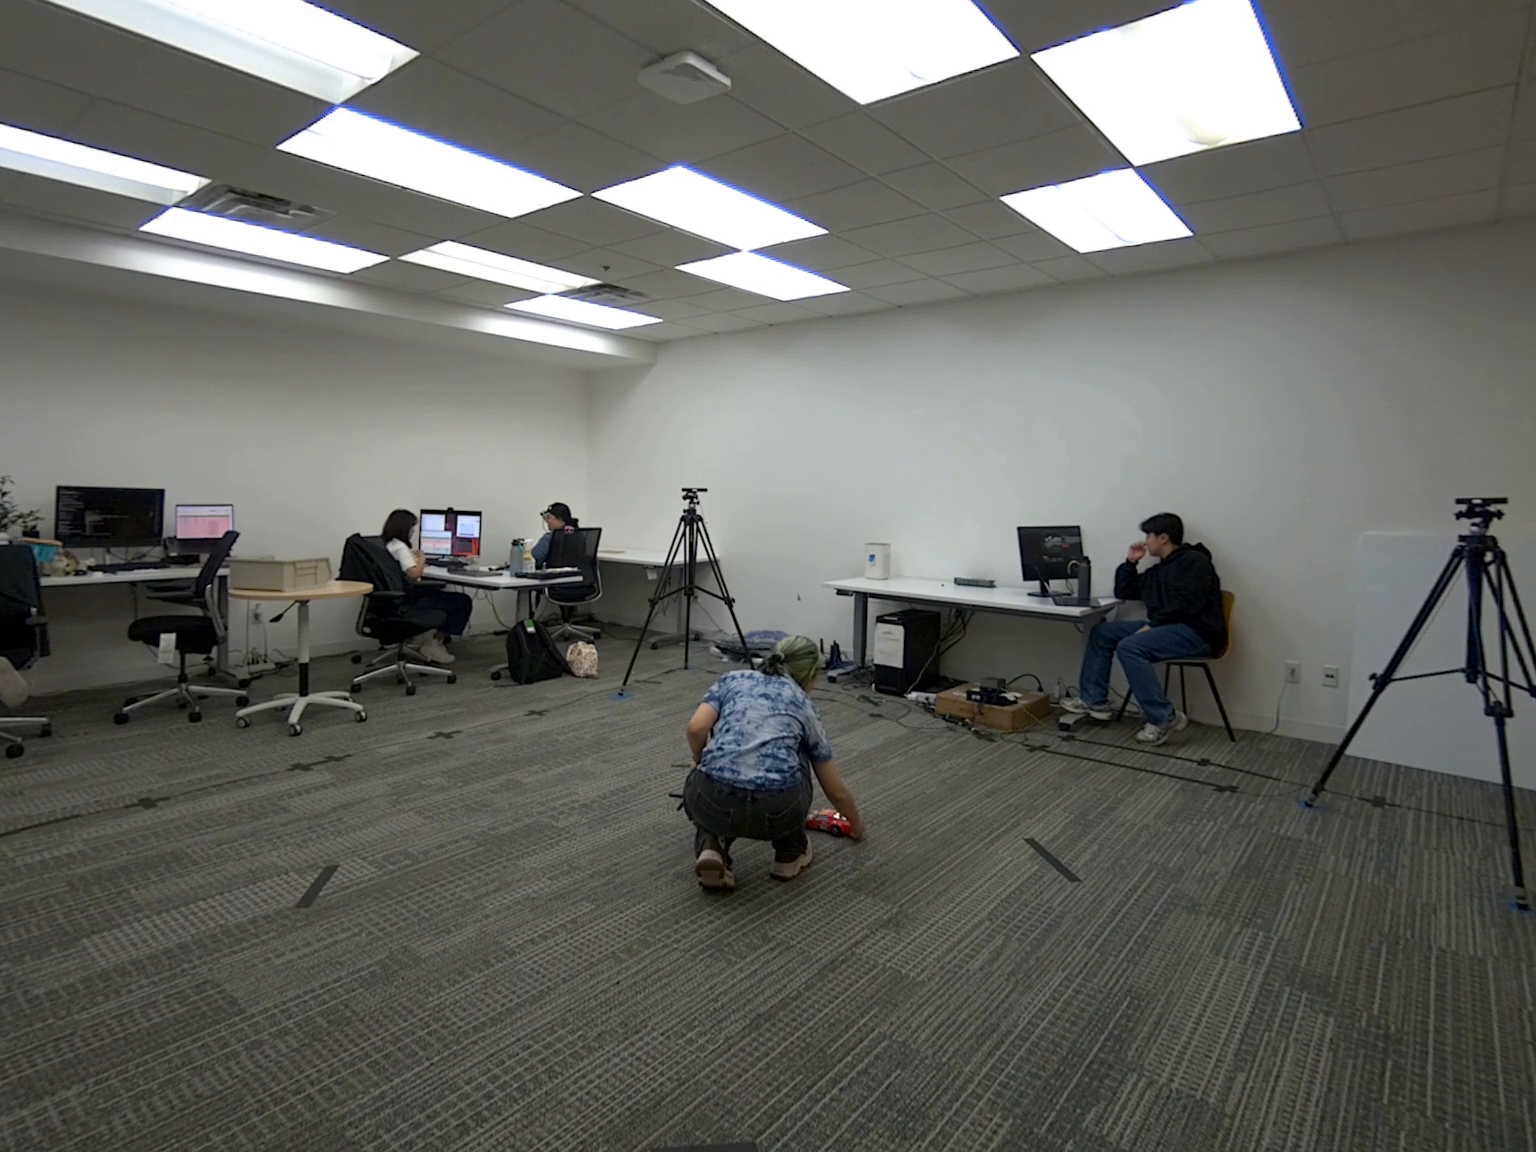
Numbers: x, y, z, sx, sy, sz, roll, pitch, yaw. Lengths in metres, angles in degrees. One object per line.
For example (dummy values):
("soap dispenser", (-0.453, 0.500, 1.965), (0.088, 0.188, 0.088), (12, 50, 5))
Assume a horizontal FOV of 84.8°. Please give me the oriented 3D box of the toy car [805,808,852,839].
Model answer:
("toy car", (0.242, 1.012, 3.510), (0.260, 0.083, 0.127), (-7, 0, 27))
